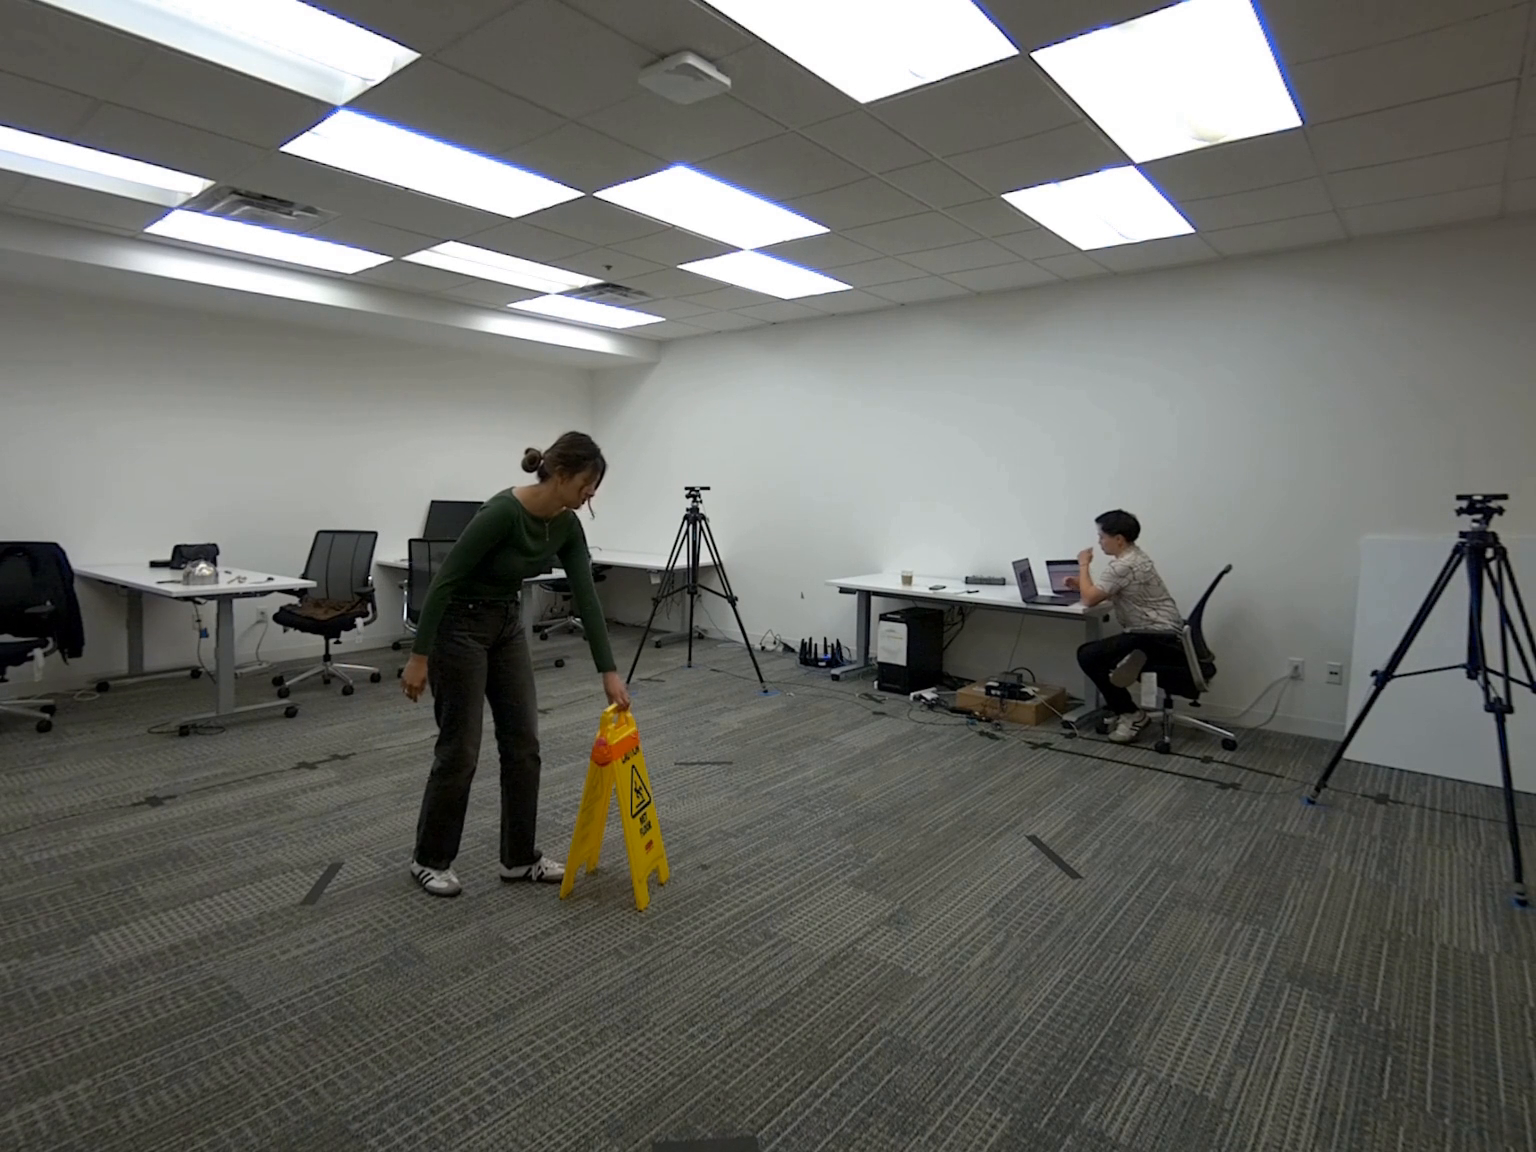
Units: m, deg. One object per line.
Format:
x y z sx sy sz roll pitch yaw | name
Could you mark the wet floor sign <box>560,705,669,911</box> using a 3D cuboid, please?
-0.530 0.757 2.926 0.295 0.644 0.278 2 4 15 | wet floor sign
